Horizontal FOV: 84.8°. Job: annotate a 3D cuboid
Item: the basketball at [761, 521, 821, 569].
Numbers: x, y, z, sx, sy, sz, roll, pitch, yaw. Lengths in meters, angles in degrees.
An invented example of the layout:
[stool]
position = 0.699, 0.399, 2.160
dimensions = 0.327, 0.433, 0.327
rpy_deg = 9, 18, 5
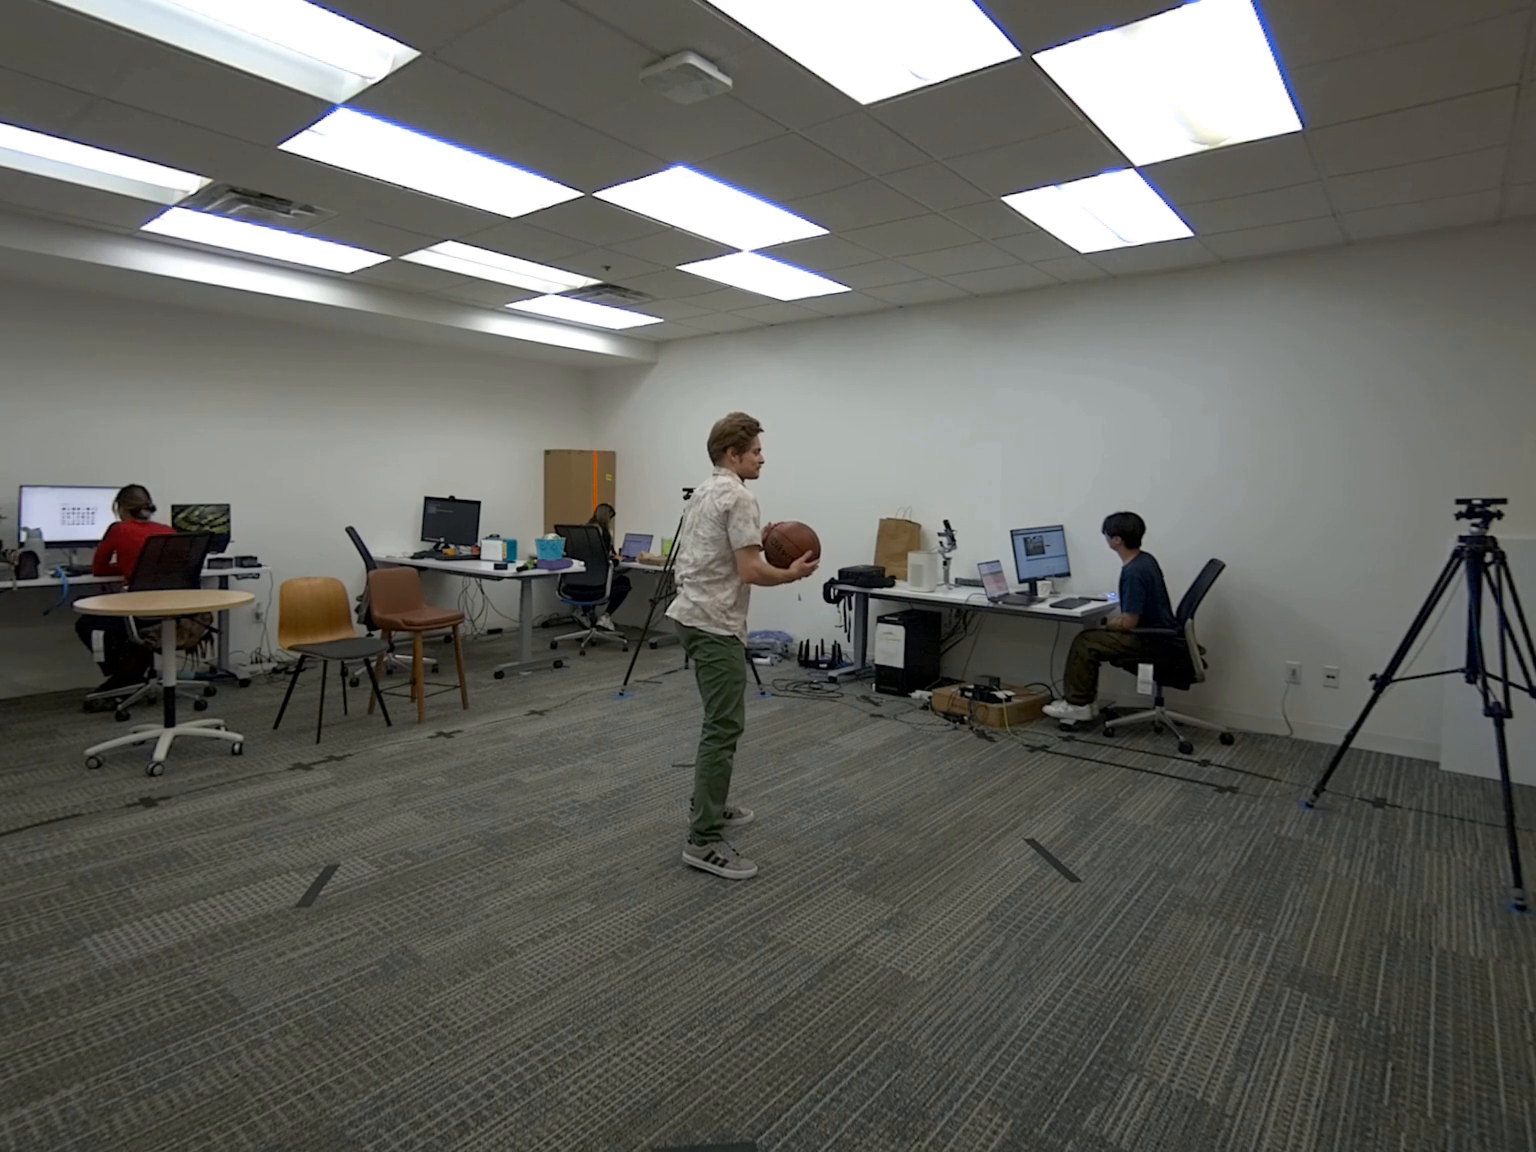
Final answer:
[basketball]
position = 0.089, -0.111, 3.580
dimensions = 0.236, 0.235, 0.237
rpy_deg = 1, 4, -2
